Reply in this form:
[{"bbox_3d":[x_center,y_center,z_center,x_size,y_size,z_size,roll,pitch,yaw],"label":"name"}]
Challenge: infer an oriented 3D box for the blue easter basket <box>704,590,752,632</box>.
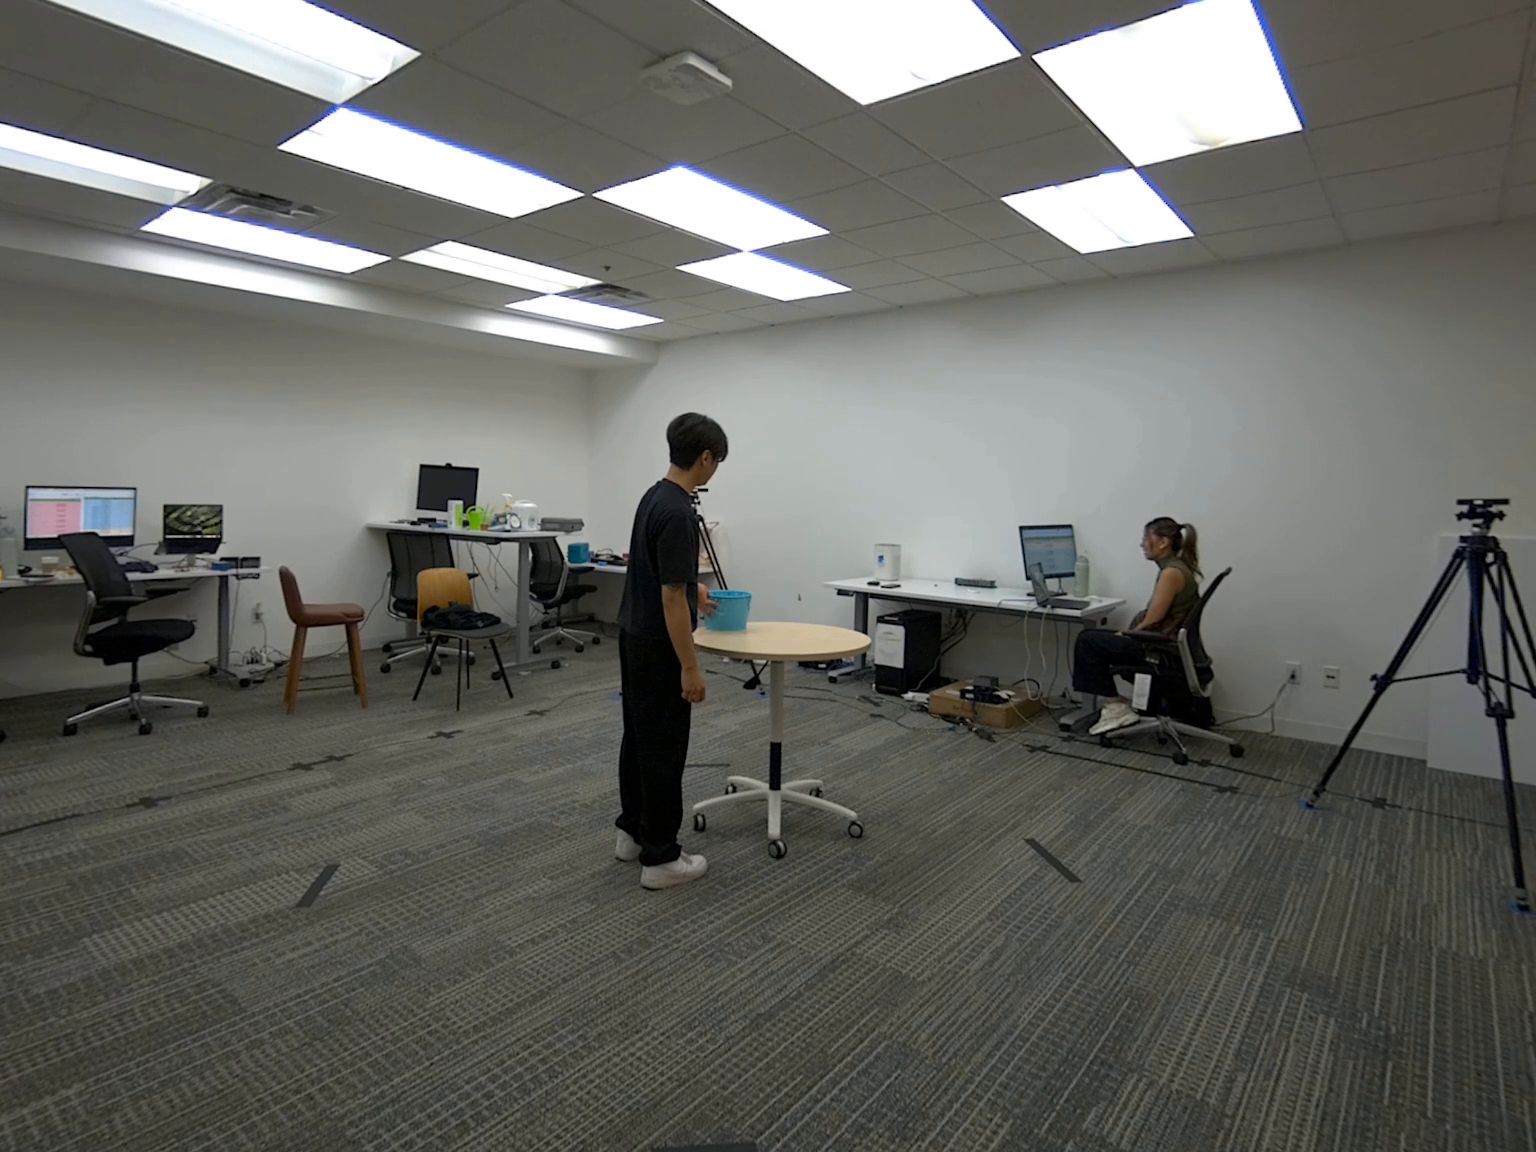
[{"bbox_3d":[-0.191,0.152,3.772,0.243,0.155,0.245,1,5,-2],"label":"blue easter basket"}]
